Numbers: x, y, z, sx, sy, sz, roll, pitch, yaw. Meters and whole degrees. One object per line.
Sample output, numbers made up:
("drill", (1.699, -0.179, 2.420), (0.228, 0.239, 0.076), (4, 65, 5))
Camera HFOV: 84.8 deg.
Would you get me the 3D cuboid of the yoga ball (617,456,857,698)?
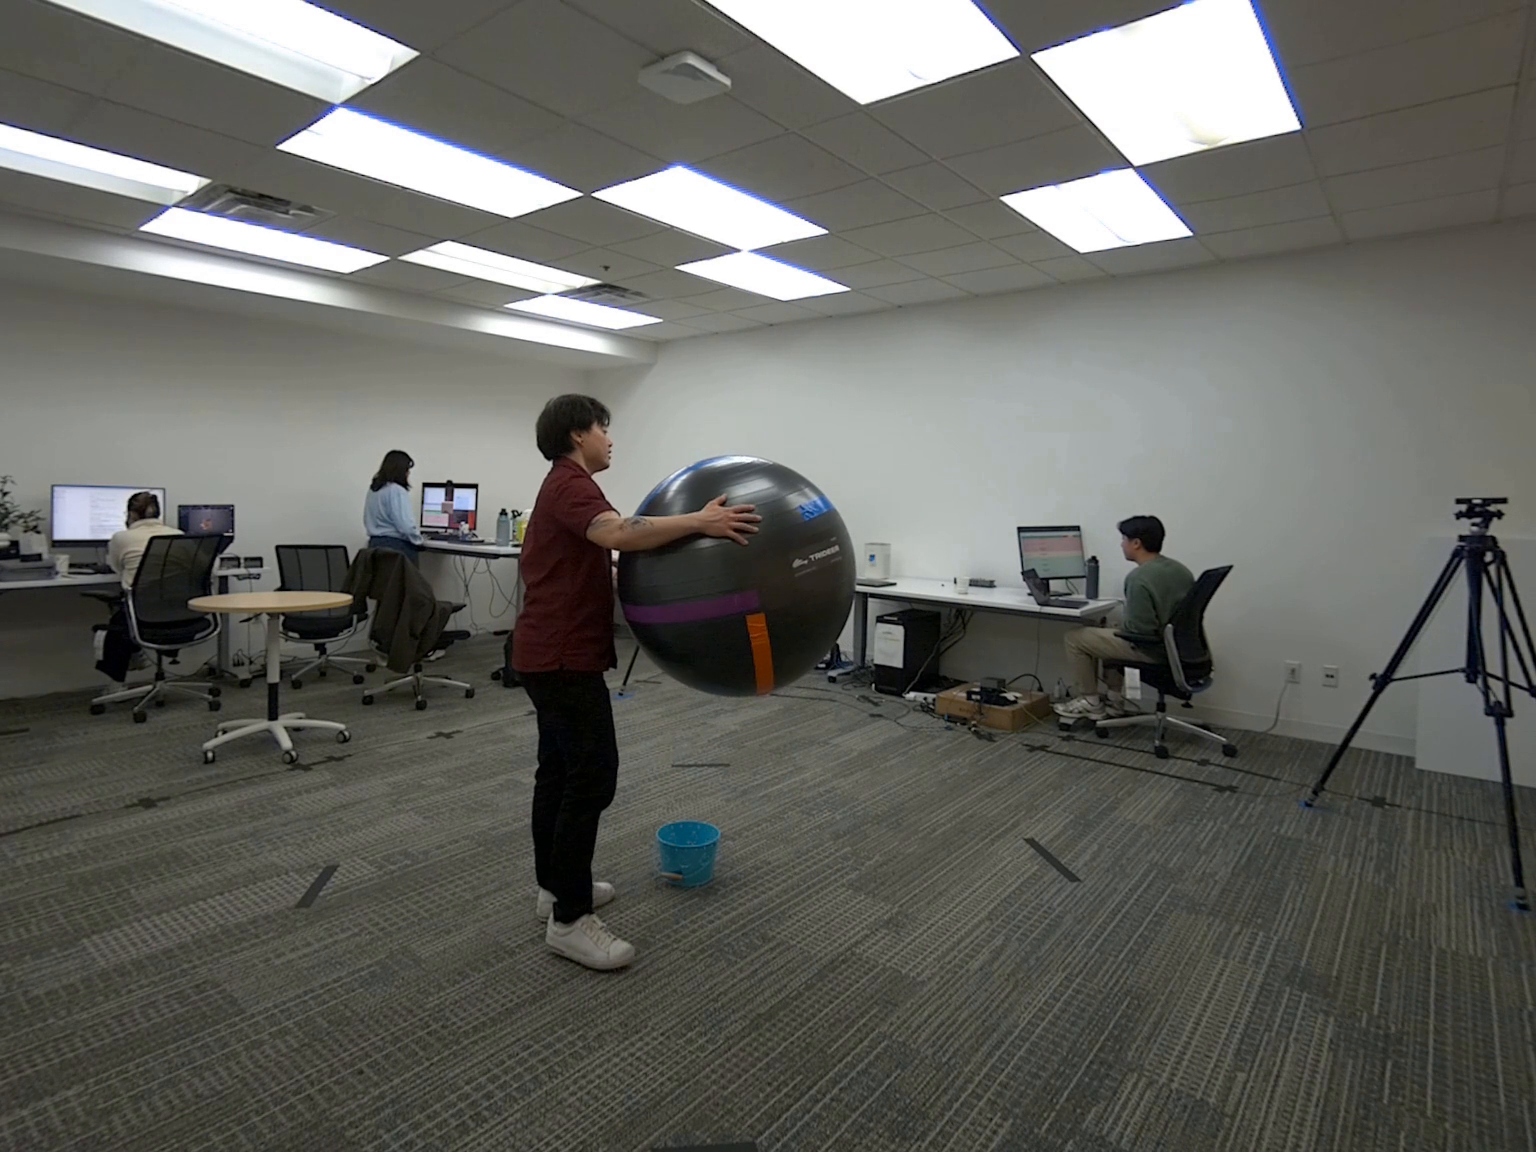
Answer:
("yoga ball", (-0.108, 0.008, 2.693), (0.757, 0.756, 0.761), (1, 4, -2))
